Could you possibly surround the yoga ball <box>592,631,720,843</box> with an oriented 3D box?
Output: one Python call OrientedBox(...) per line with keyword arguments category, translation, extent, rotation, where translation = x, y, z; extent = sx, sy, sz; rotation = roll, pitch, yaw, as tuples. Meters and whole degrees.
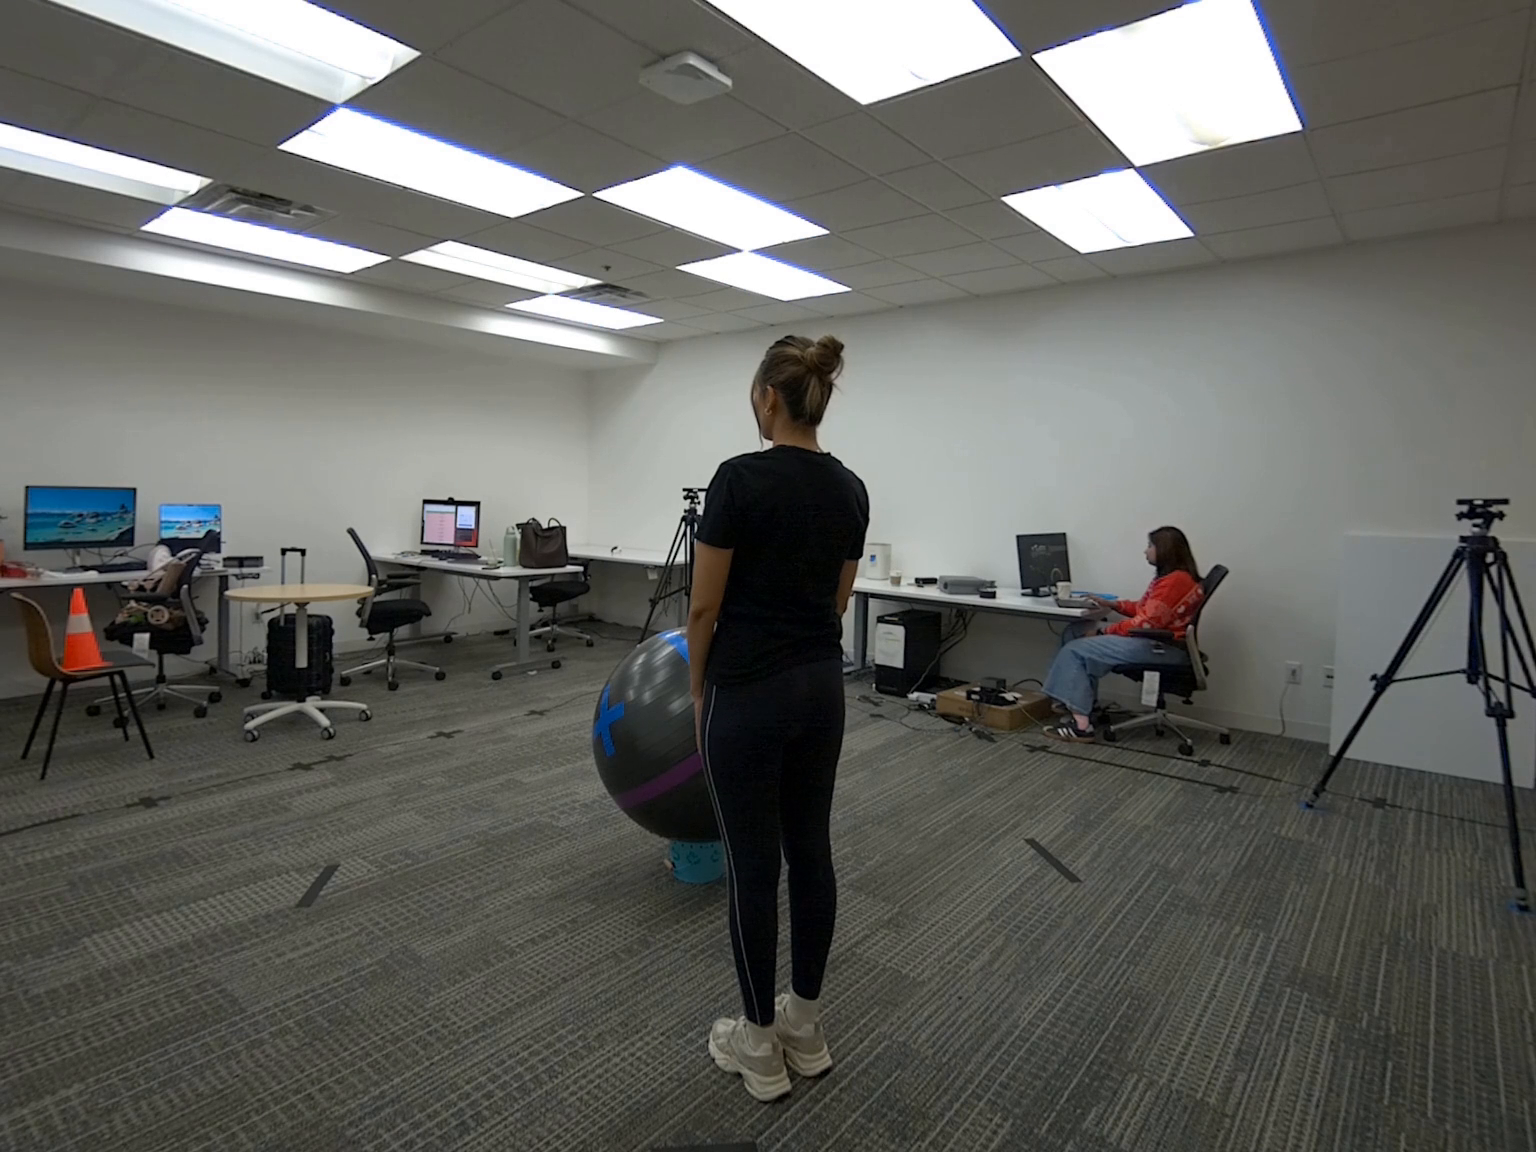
OrientedBox(category="yoga ball", translation=(-0.263, 0.562, 3.072), extent=(0.757, 0.756, 0.762), rotation=(1, 4, -2))
